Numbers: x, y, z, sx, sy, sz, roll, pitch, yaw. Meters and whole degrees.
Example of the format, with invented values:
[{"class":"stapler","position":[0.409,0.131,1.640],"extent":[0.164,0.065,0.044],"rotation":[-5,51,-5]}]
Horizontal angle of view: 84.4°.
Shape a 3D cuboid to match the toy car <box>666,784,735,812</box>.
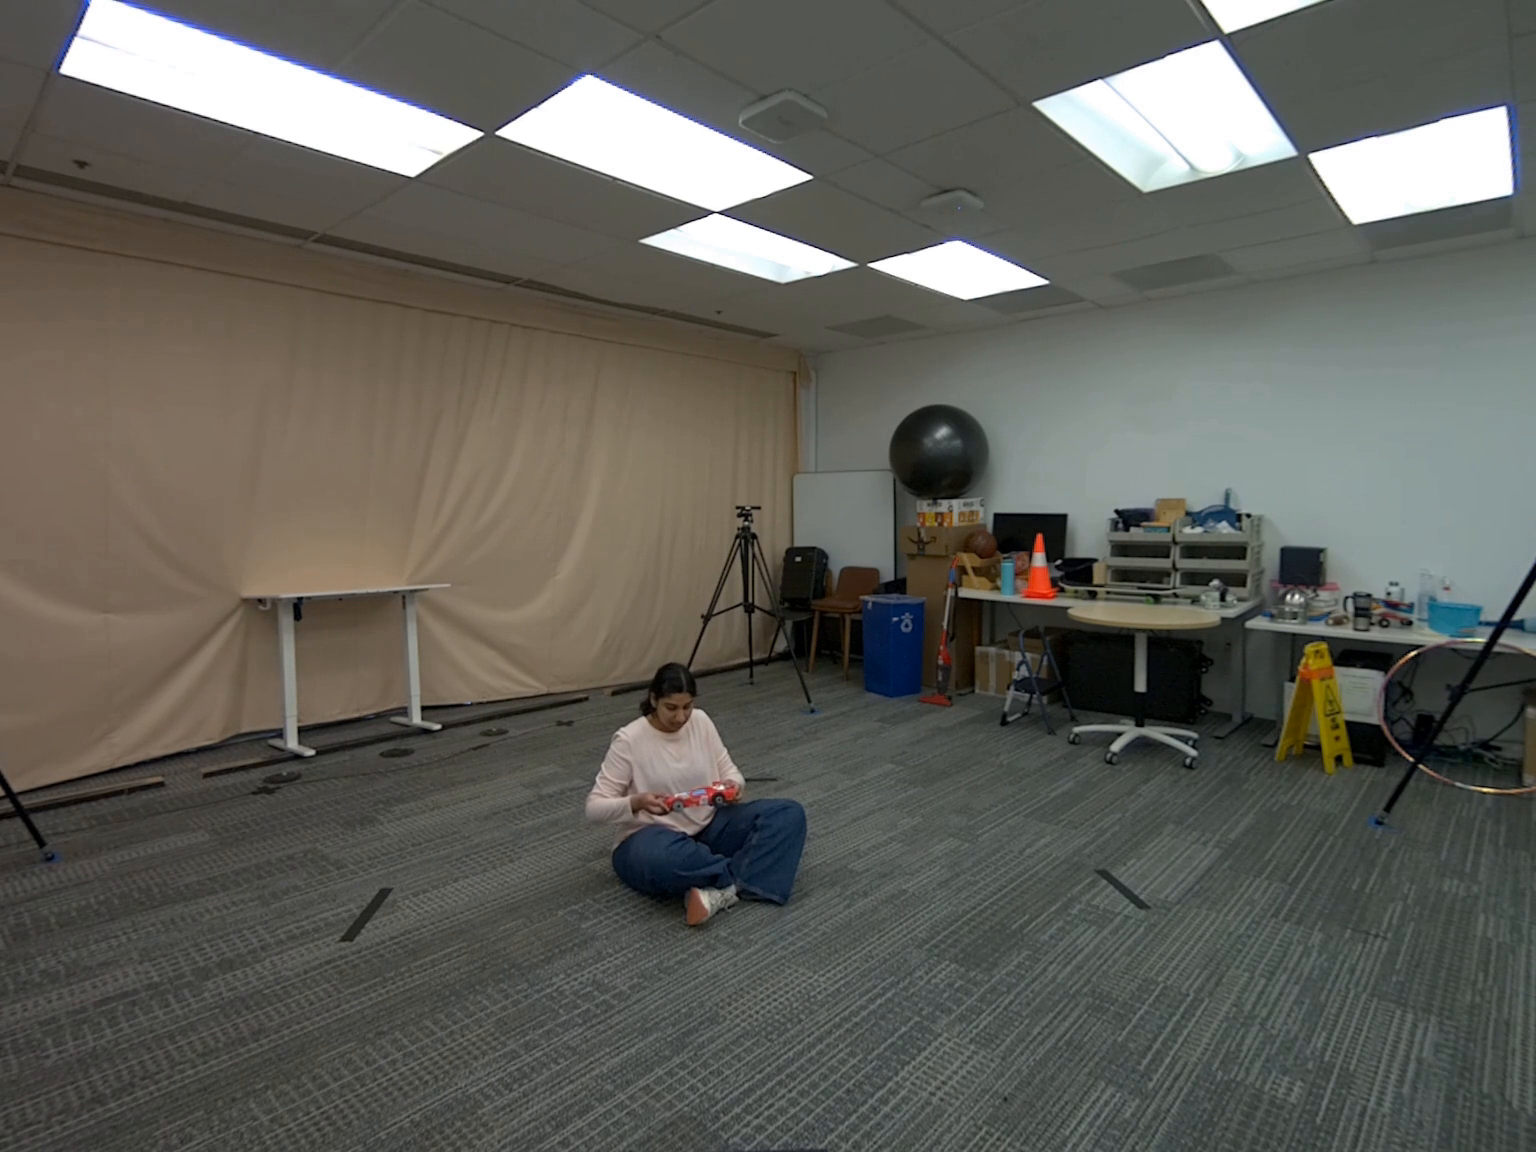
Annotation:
[{"class":"toy car","position":[-0.234,0.779,2.951],"extent":[0.251,0.084,0.131],"rotation":[-15,-9,-14]}]
